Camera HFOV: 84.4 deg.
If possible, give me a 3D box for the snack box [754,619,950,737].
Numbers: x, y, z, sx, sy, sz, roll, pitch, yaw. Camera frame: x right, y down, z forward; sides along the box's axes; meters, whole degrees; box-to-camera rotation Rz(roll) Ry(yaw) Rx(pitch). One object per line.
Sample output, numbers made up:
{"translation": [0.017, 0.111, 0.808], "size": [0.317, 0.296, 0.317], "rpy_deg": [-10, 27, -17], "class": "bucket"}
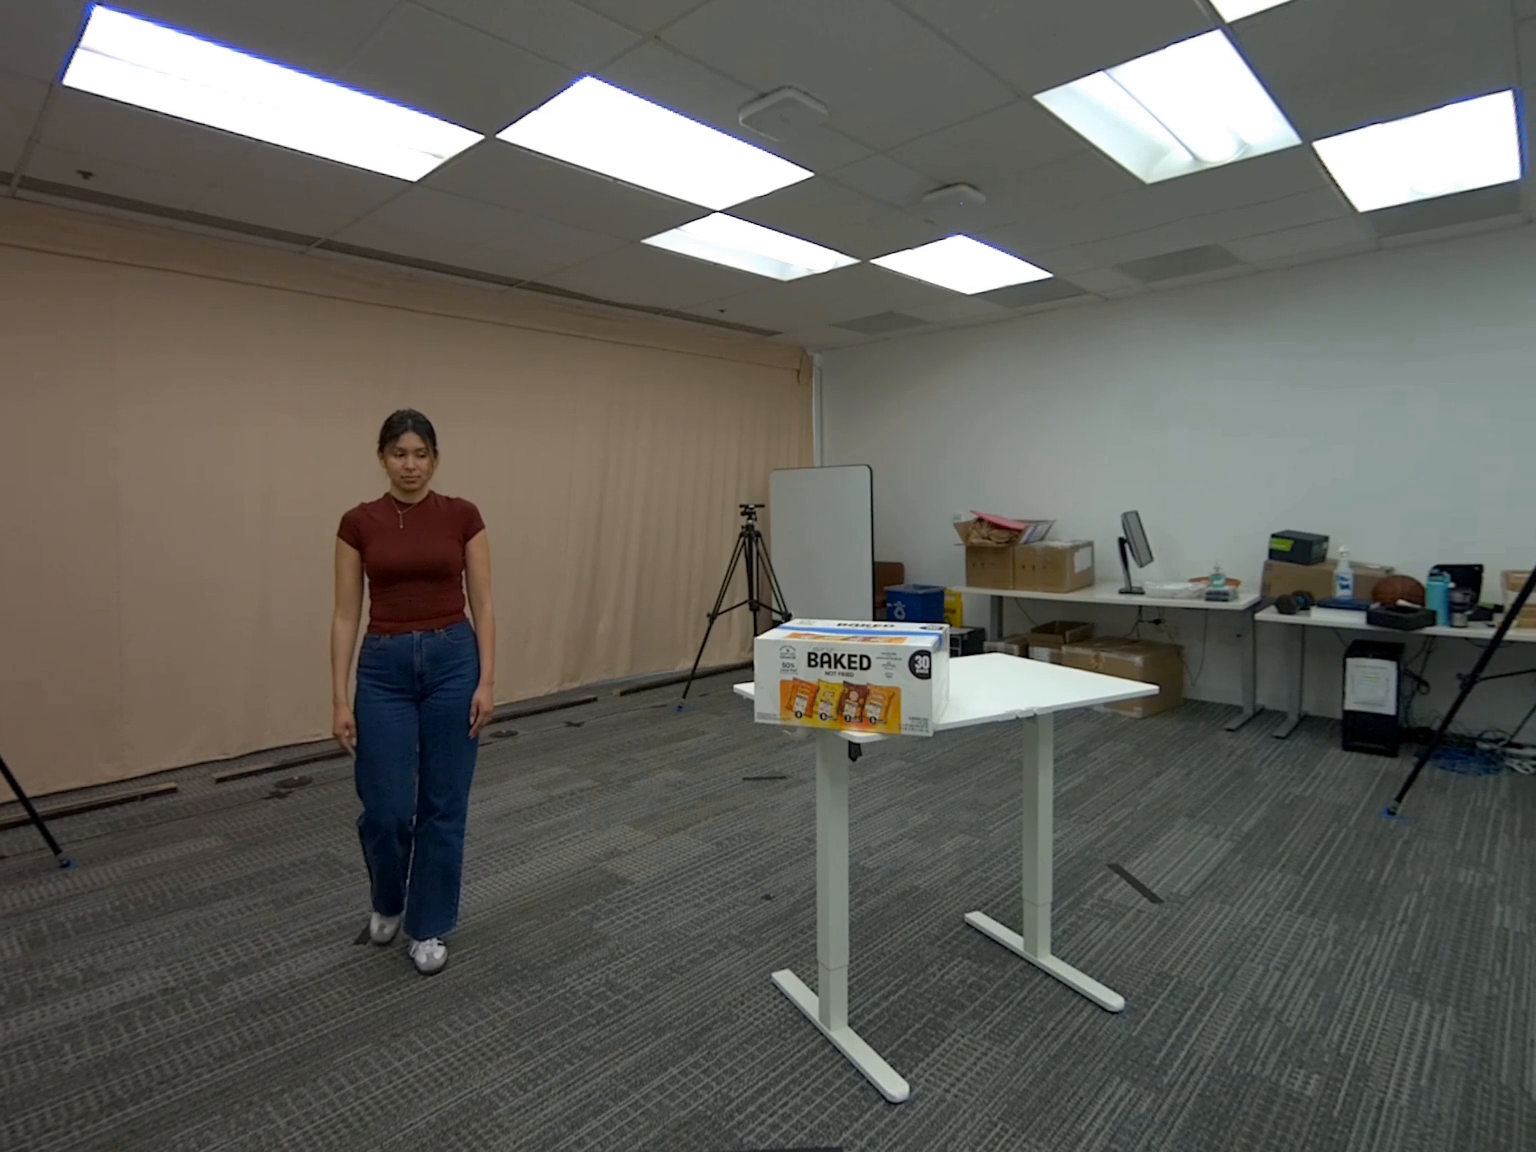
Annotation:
{"translation": [0.218, 0.235, 2.036], "size": [0.414, 0.205, 0.334], "rpy_deg": [1, 5, 20], "class": "snack box"}
